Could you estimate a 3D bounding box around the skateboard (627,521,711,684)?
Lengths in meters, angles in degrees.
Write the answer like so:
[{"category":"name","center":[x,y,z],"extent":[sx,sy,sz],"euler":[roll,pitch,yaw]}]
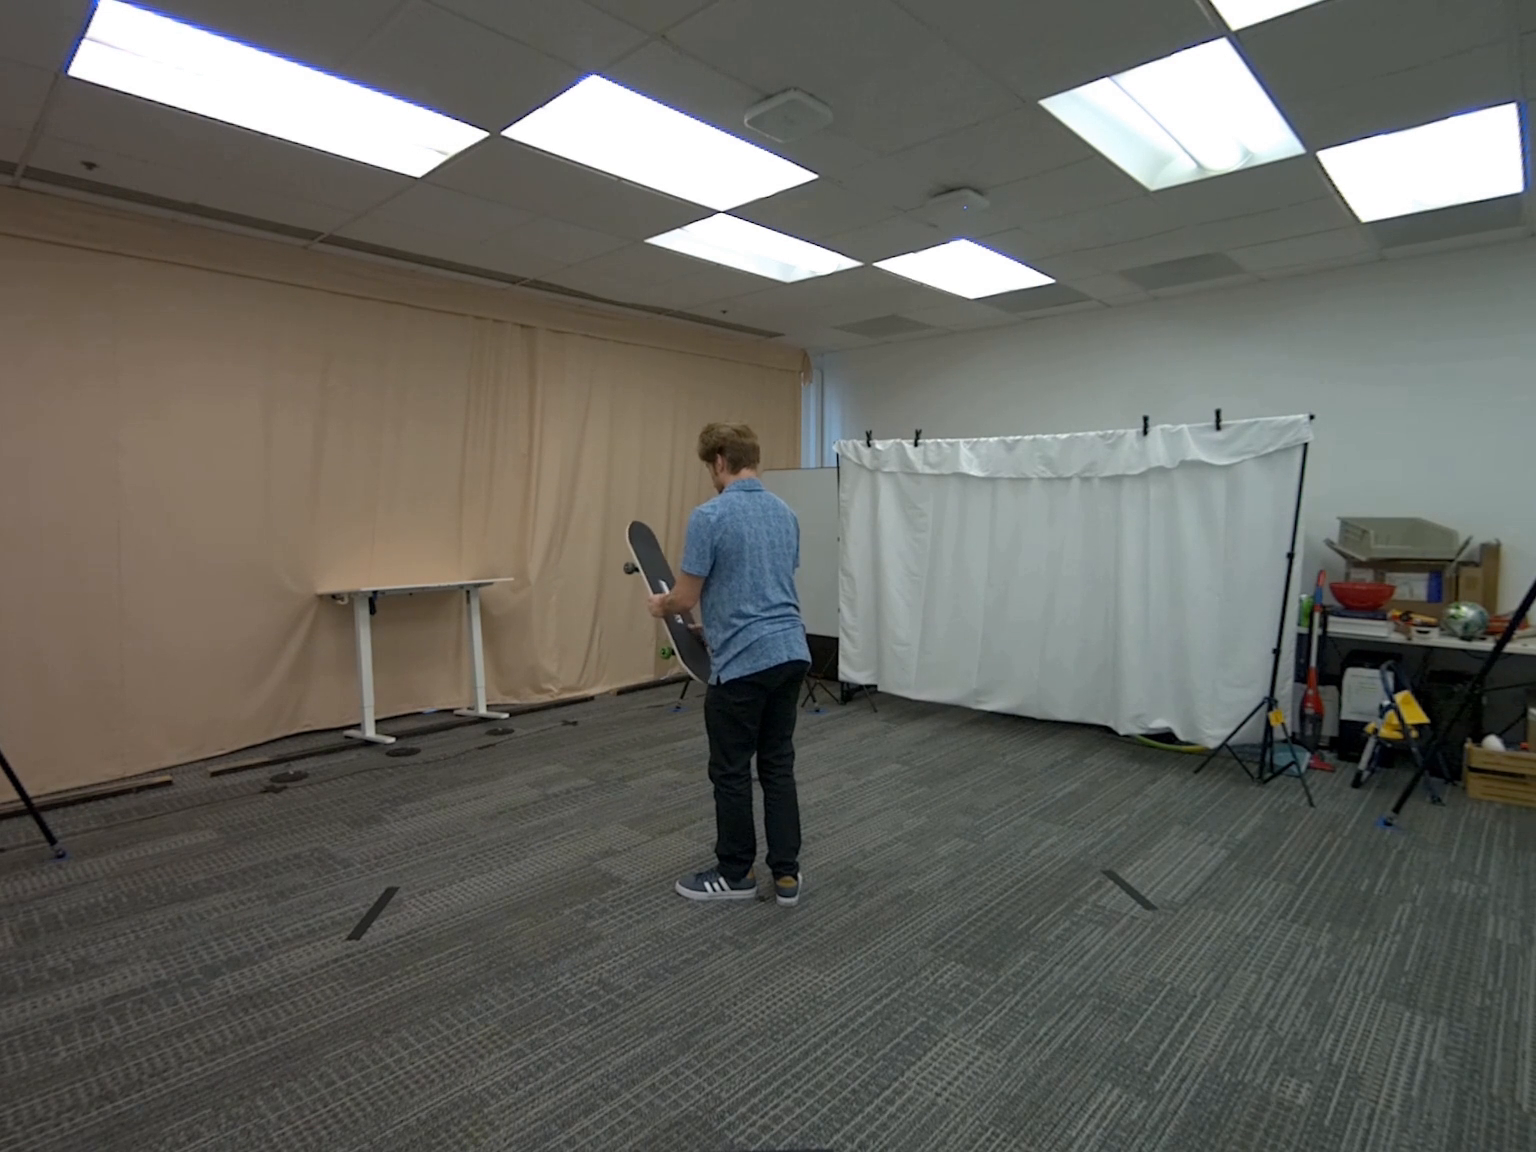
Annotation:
[{"category":"skateboard","center":[-0.395,0.125,3.291],"extent":[0.111,0.807,0.187],"euler":[-41,-32,23]}]
